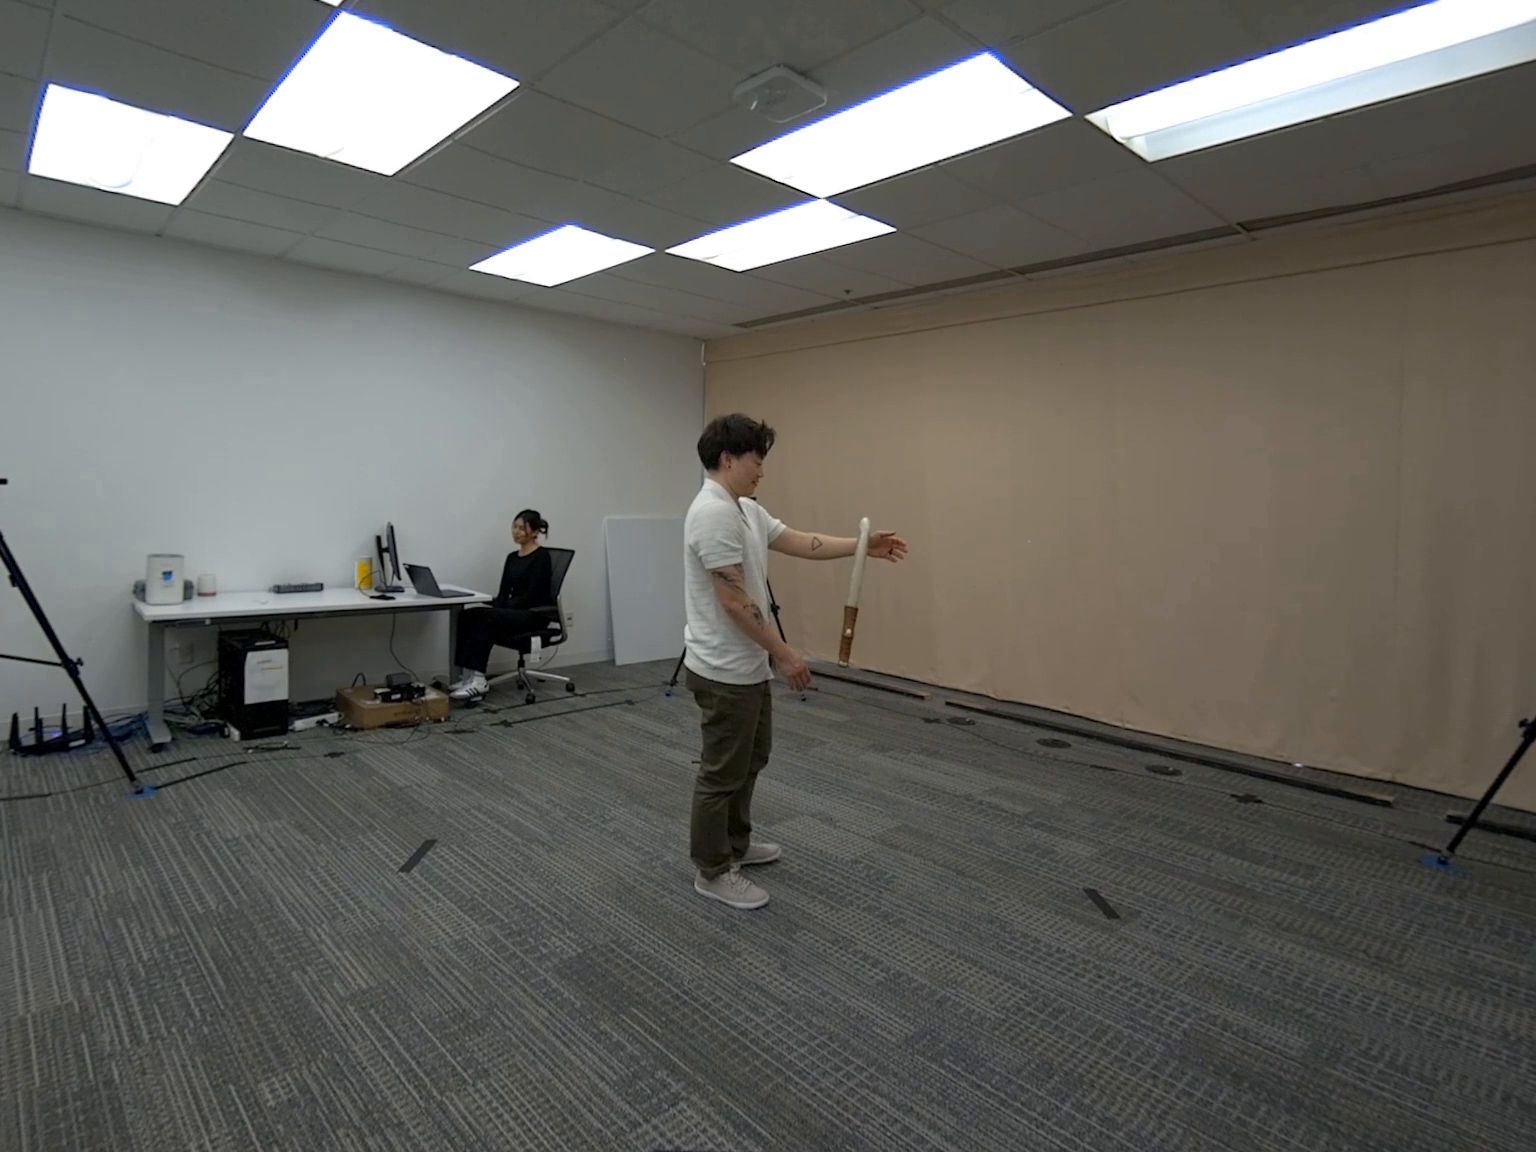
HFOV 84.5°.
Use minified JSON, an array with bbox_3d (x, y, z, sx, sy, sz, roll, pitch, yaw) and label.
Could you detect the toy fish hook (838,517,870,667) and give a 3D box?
[{"bbox_3d":[0.289,0.061,2.826,0.049,0.508,0.221,9,-6,10],"label":"toy fish hook"}]
